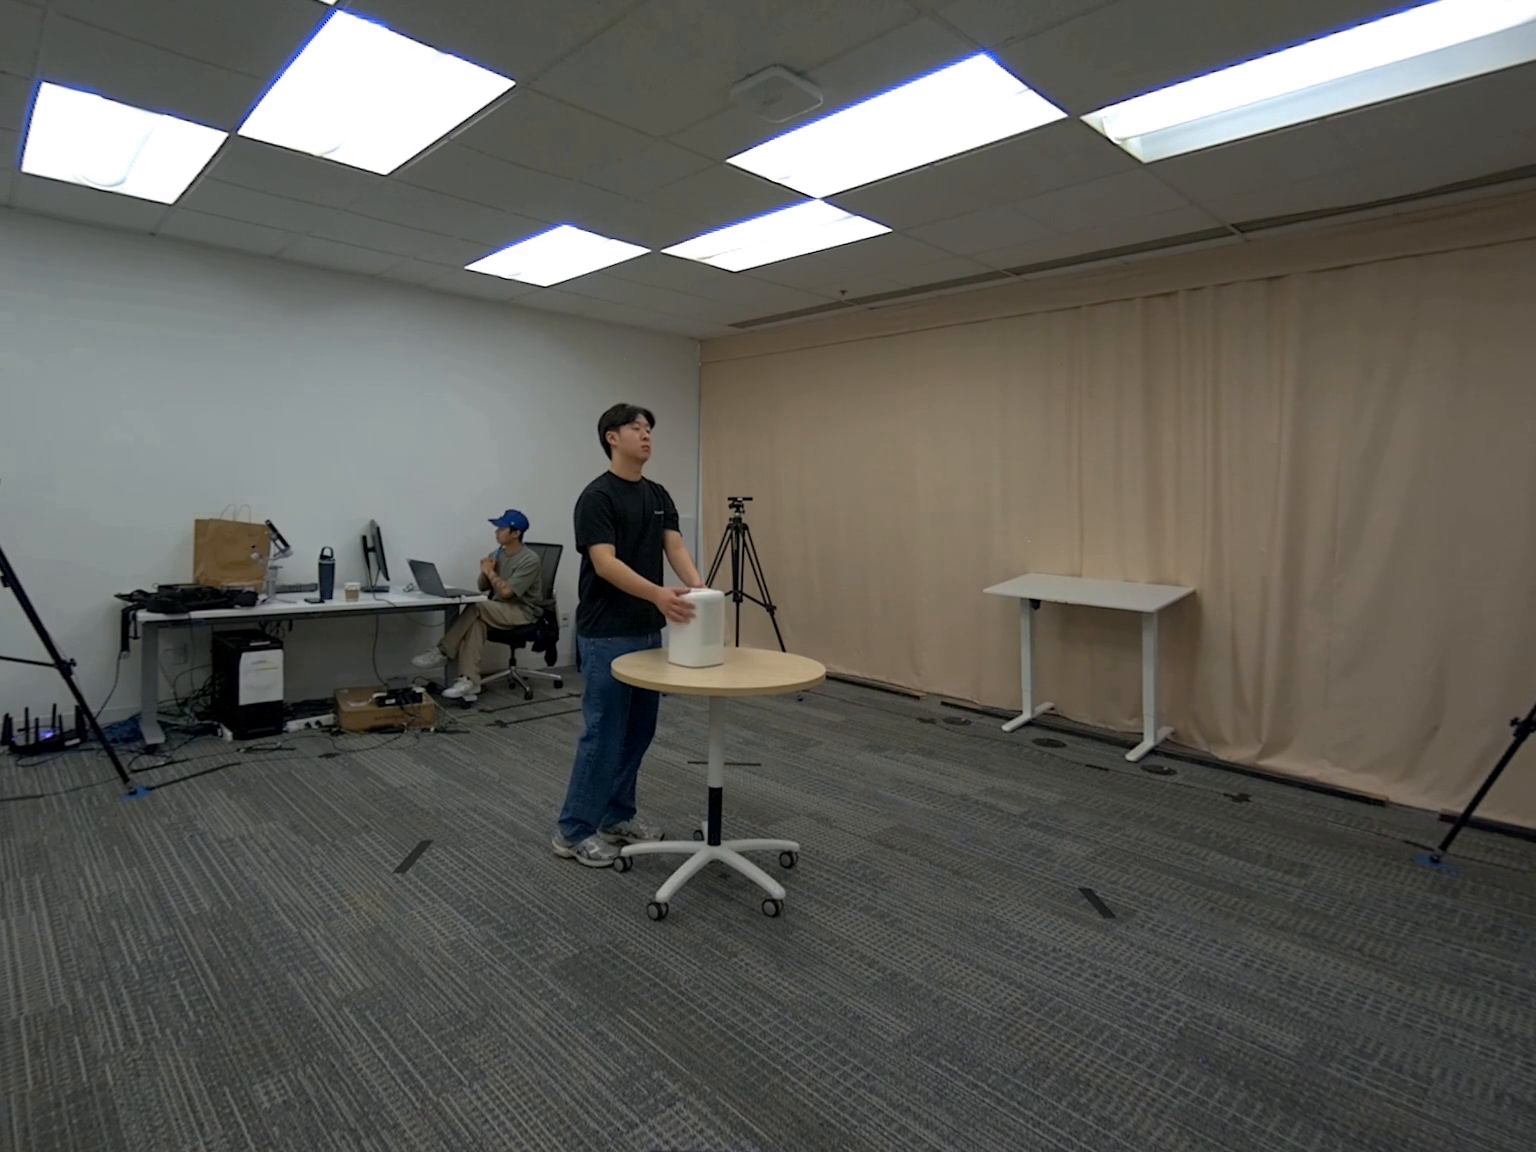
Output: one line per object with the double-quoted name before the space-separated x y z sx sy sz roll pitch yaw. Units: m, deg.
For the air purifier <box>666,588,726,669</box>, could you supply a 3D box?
"air purifier" -0.264 0.183 3.024 0.168 0.265 0.175 -2 5 -41
